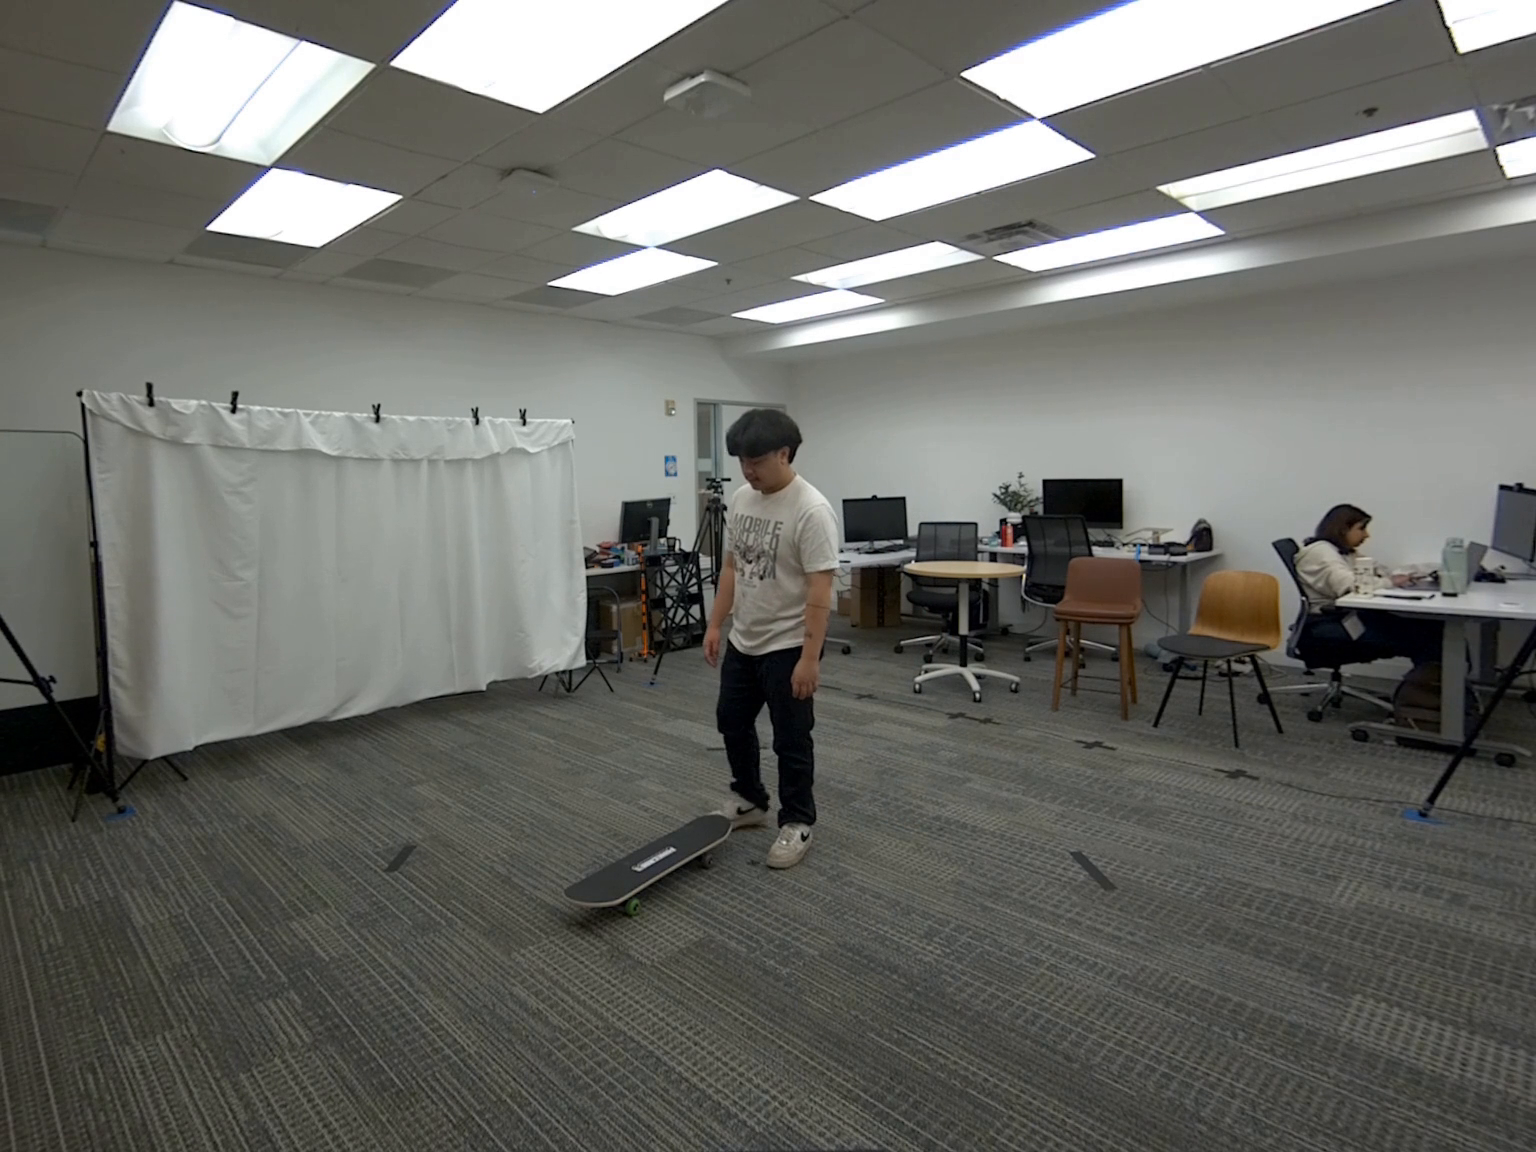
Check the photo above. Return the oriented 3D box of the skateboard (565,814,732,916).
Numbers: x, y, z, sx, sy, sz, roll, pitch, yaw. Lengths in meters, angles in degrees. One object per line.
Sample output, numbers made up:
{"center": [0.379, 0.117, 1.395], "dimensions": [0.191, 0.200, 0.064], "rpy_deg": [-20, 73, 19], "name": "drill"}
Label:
{"center": [-0.391, 1.011, 2.956], "dimensions": [0.199, 0.110, 0.767], "rpy_deg": [3, 8, 33], "name": "skateboard"}
